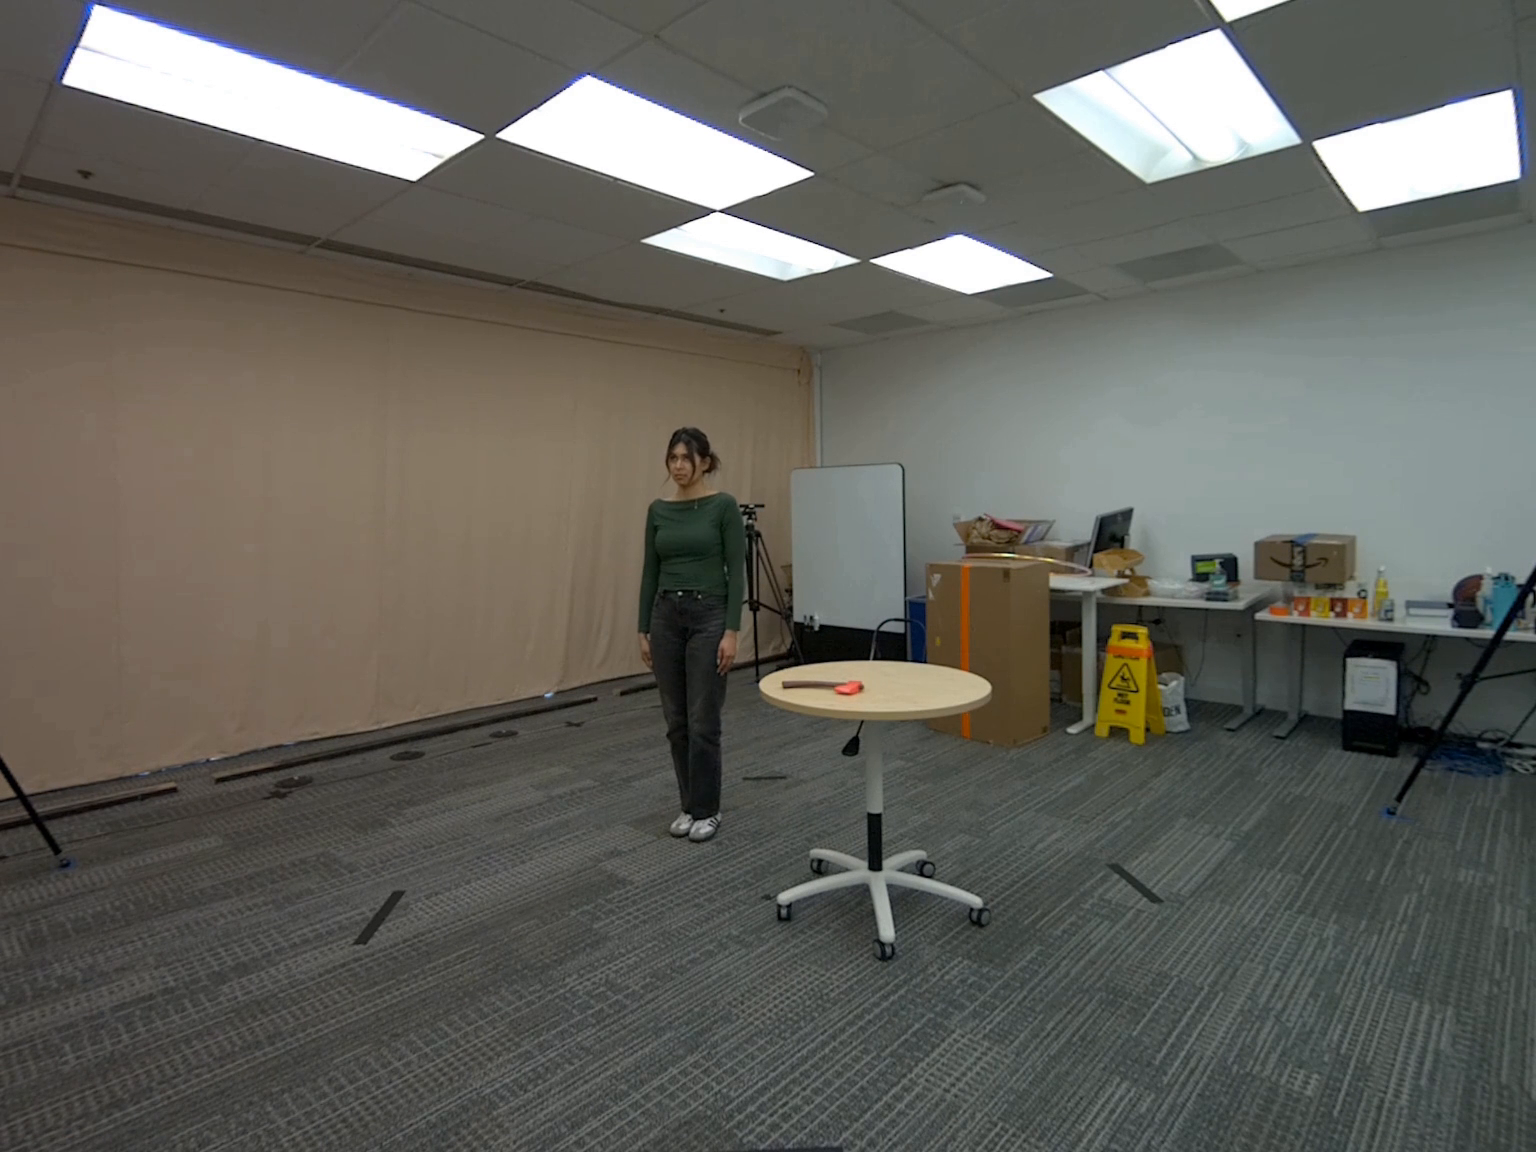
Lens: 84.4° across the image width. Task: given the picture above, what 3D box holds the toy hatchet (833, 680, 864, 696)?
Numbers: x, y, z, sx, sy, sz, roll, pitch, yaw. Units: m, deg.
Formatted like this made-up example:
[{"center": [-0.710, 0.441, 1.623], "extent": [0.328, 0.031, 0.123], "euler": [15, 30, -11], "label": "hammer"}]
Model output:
[{"center": [0.184, 0.367, 2.738], "extent": [0.272, 0.029, 0.130], "euler": [-3, 8, 8], "label": "toy hatchet"}]
